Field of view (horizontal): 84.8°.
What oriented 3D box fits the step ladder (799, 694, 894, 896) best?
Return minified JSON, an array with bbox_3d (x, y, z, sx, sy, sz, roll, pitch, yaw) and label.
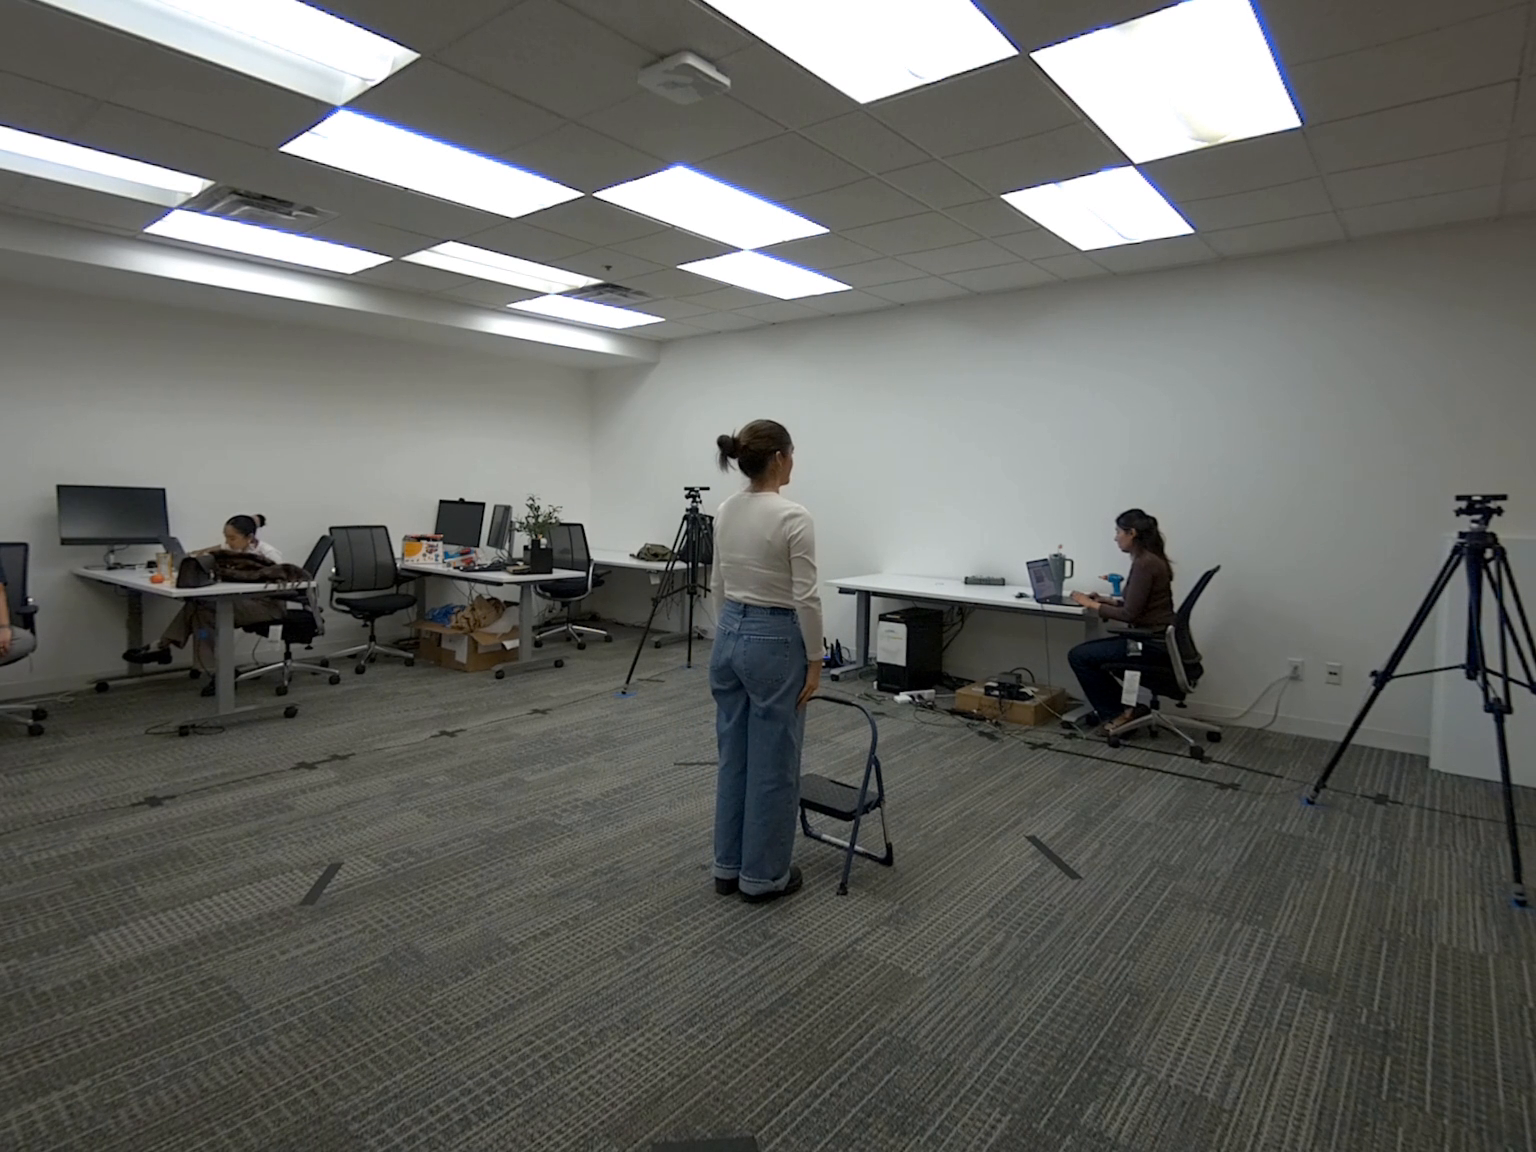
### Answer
[{"bbox_3d":[0.205,0.763,3.173,0.445,0.604,0.339,5,5,40],"label":"step ladder"}]
